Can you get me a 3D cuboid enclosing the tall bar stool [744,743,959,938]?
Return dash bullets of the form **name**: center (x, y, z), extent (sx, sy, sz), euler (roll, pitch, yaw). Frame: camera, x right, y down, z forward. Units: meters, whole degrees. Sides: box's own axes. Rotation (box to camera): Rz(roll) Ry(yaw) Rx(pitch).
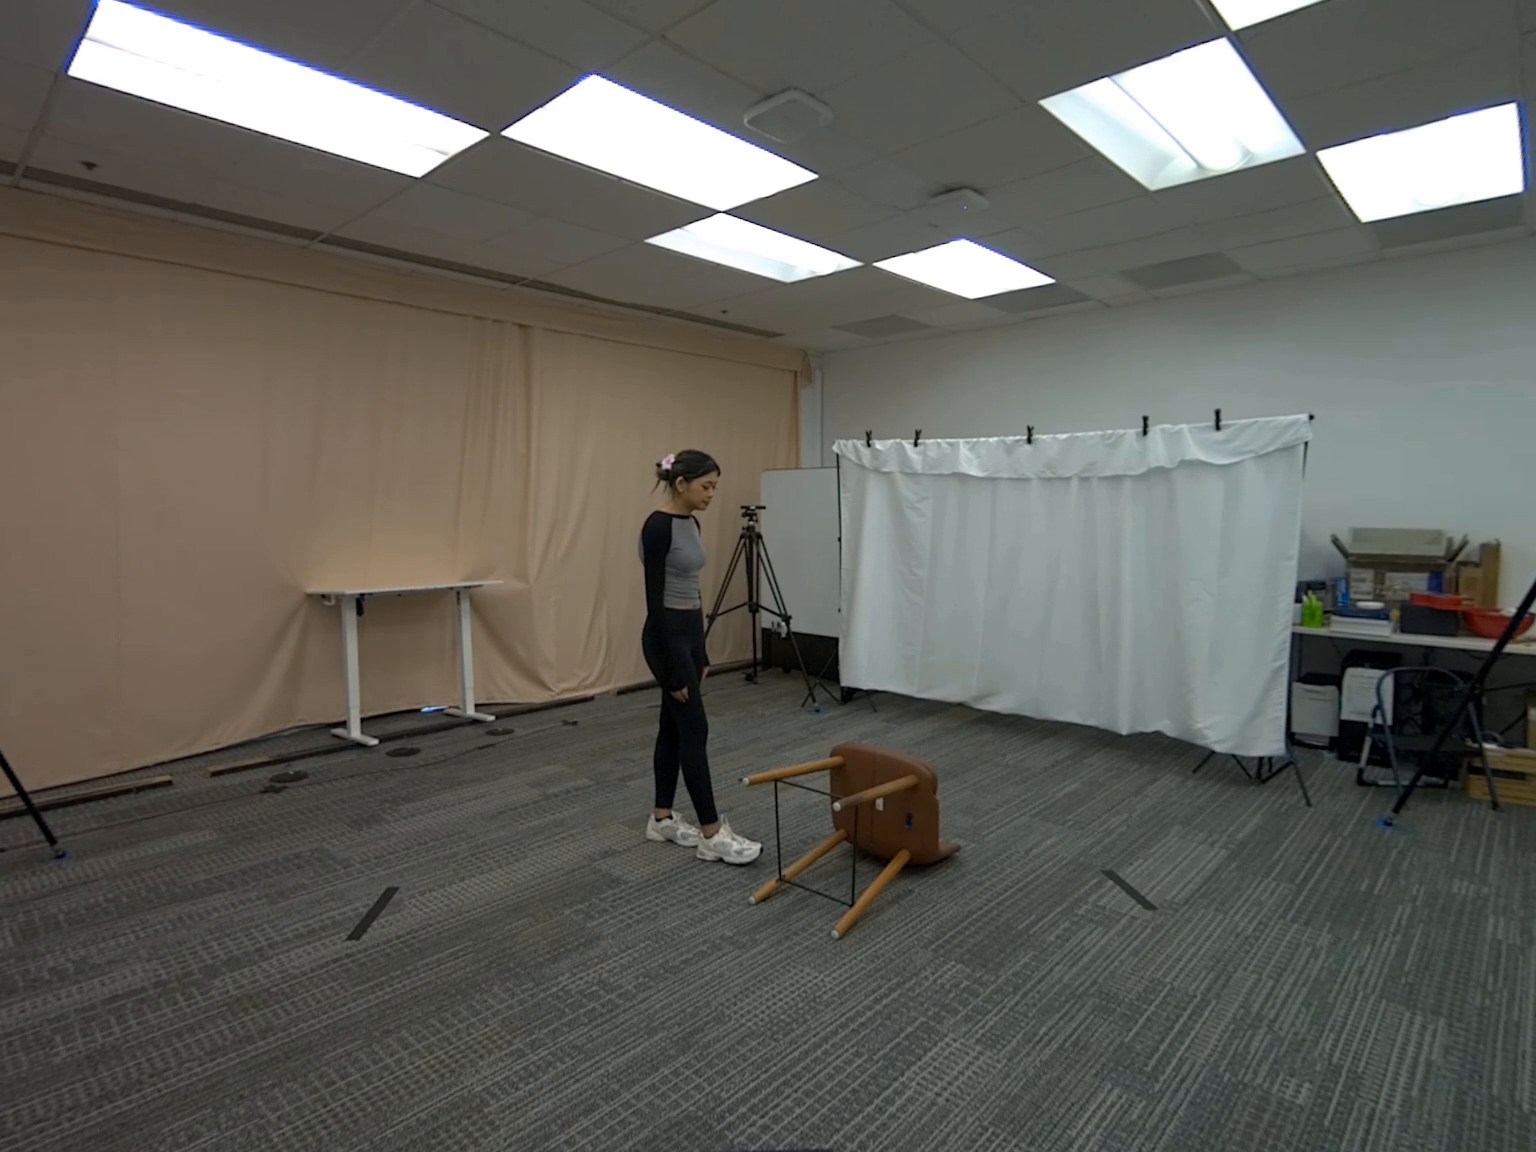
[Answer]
- **tall bar stool**: center (0.353, 0.901, 3.125), extent (0.471, 0.467, 0.863), euler (2, 5, 40)
